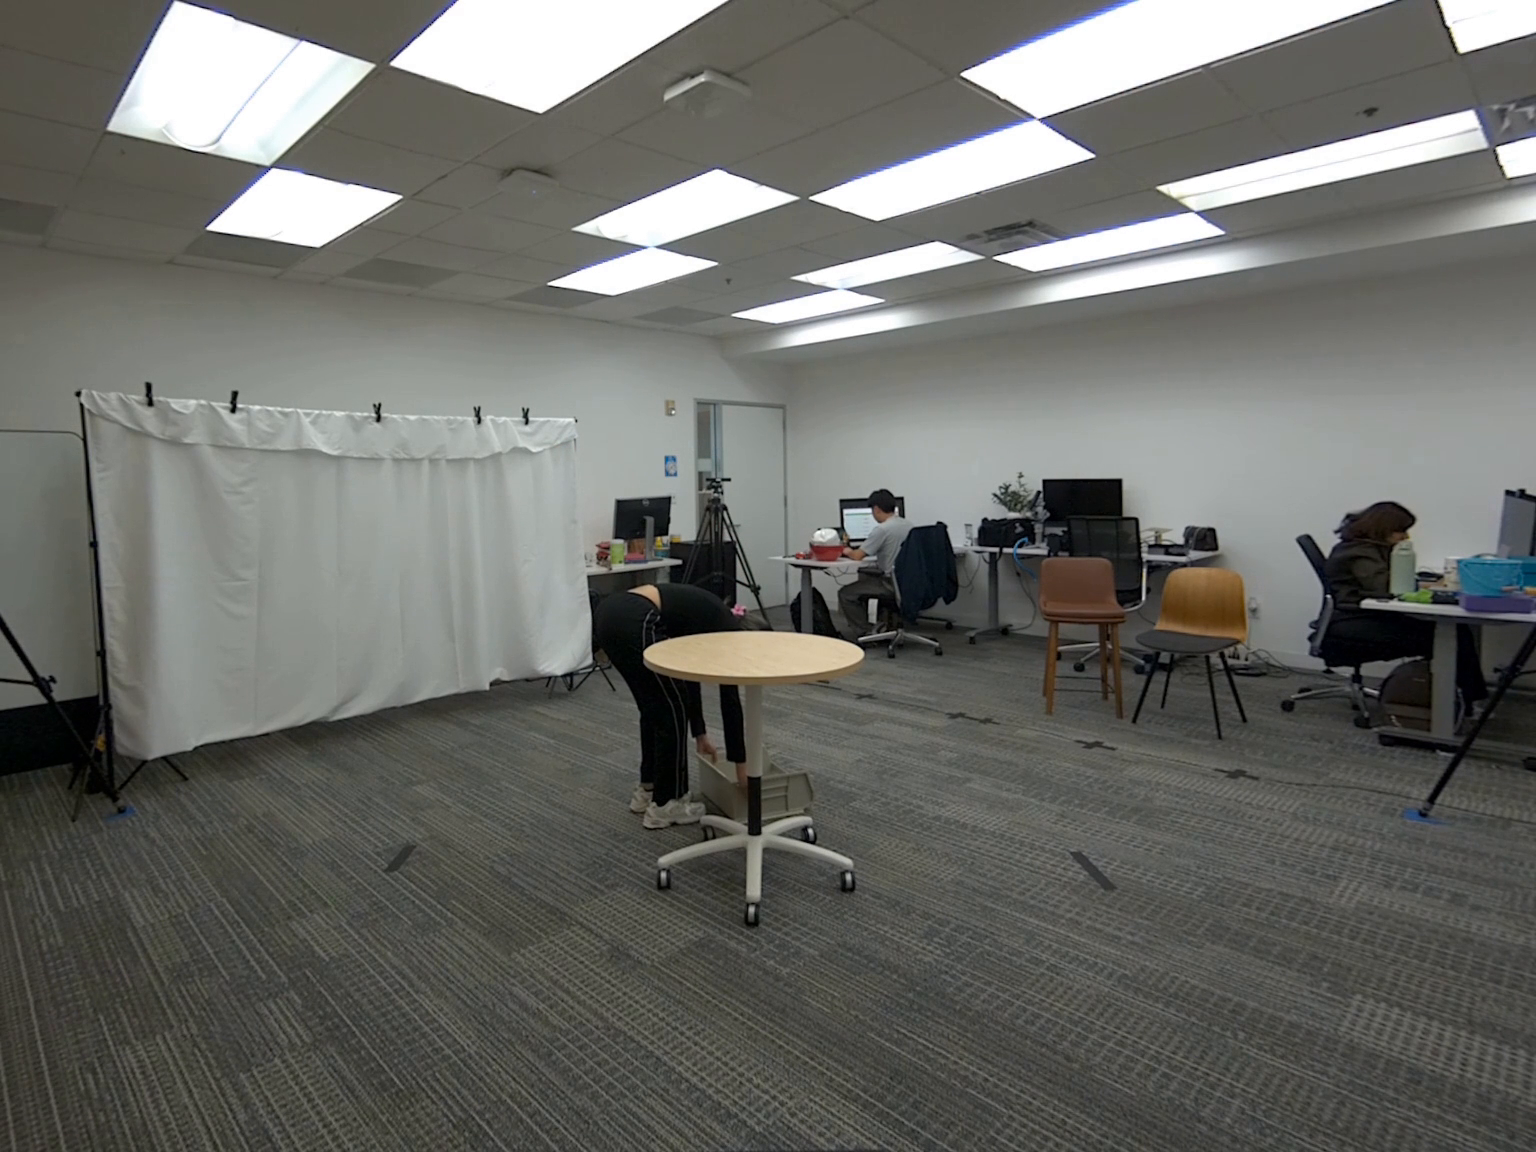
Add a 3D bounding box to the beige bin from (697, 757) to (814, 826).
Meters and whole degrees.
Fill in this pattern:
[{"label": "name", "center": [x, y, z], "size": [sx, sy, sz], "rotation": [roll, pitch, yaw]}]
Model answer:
[{"label": "beige bin", "center": [-0.065, 0.879, 3.691], "size": [0.370, 0.188, 0.433], "rotation": [-5, 9, -25]}]
